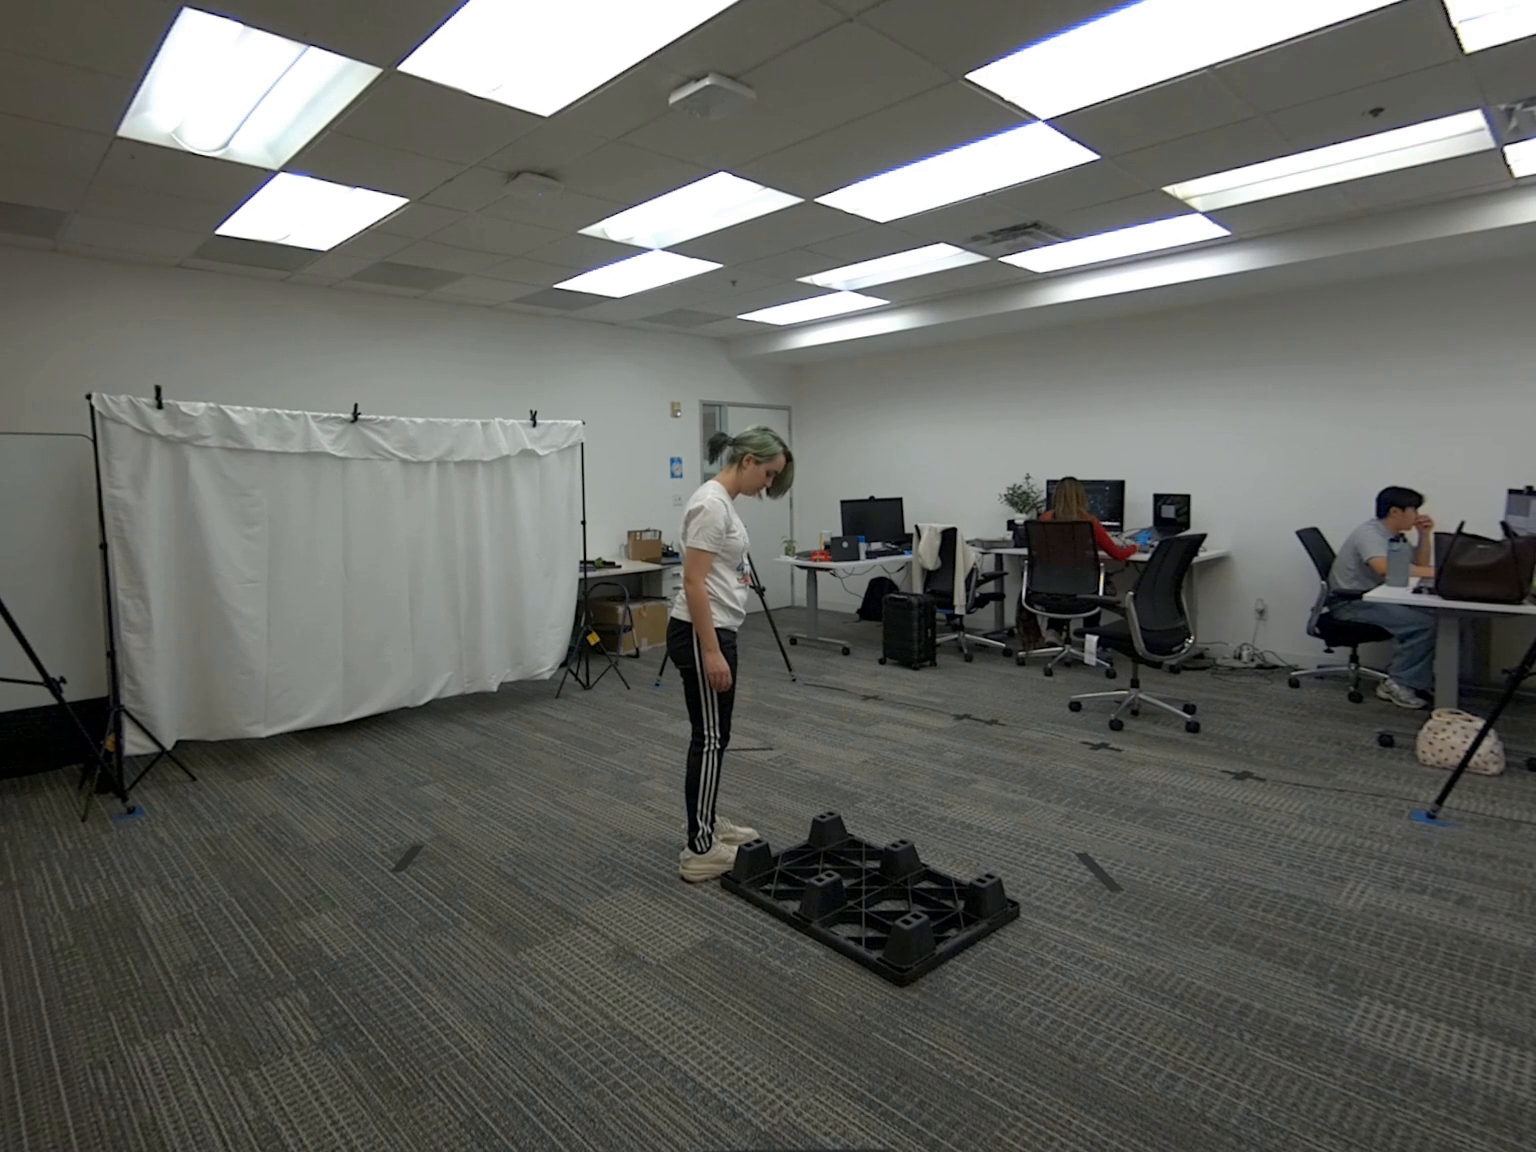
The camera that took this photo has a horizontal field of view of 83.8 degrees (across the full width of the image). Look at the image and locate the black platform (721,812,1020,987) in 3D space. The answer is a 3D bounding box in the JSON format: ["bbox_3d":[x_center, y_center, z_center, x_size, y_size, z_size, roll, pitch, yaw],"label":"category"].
[{"bbox_3d":[0.310,1.008,2.824,0.589,0.143,0.830,-6,7,-41],"label":"black platform"}]
